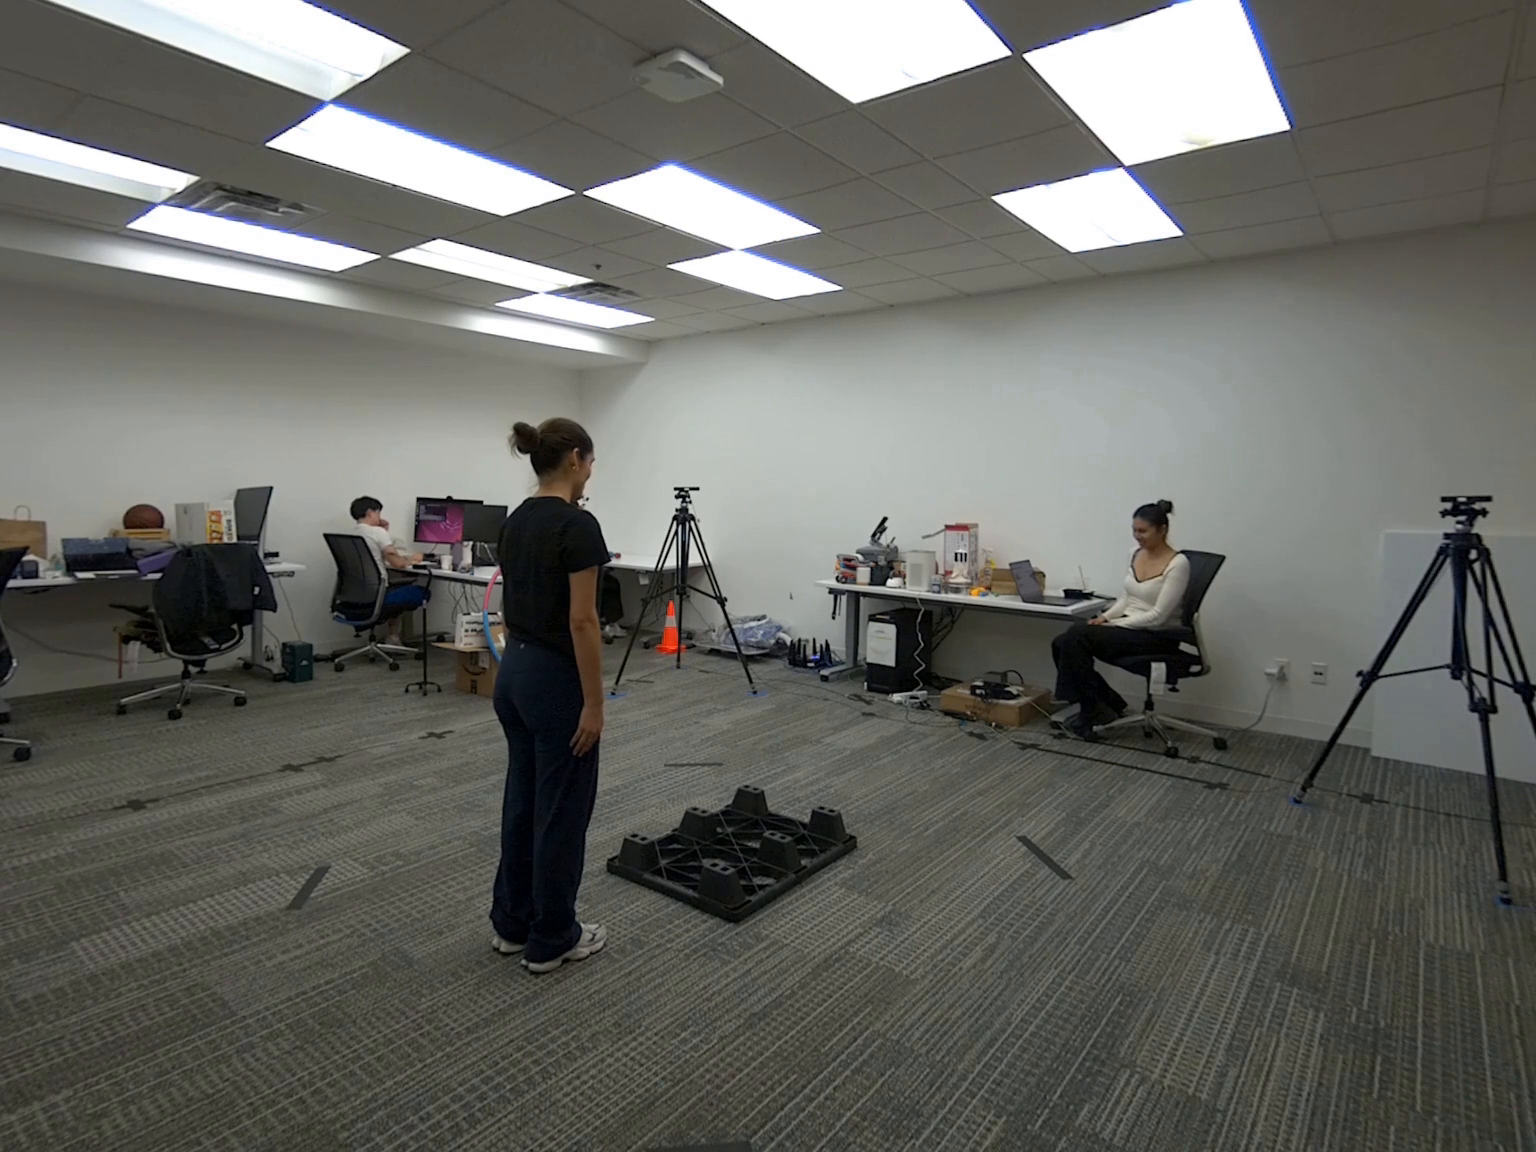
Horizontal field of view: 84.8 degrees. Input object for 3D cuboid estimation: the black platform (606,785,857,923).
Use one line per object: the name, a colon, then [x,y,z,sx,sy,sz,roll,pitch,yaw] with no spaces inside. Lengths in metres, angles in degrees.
black platform: [-0.105,0.990,3.213,0.625,0.143,0.782,5,7,37]
